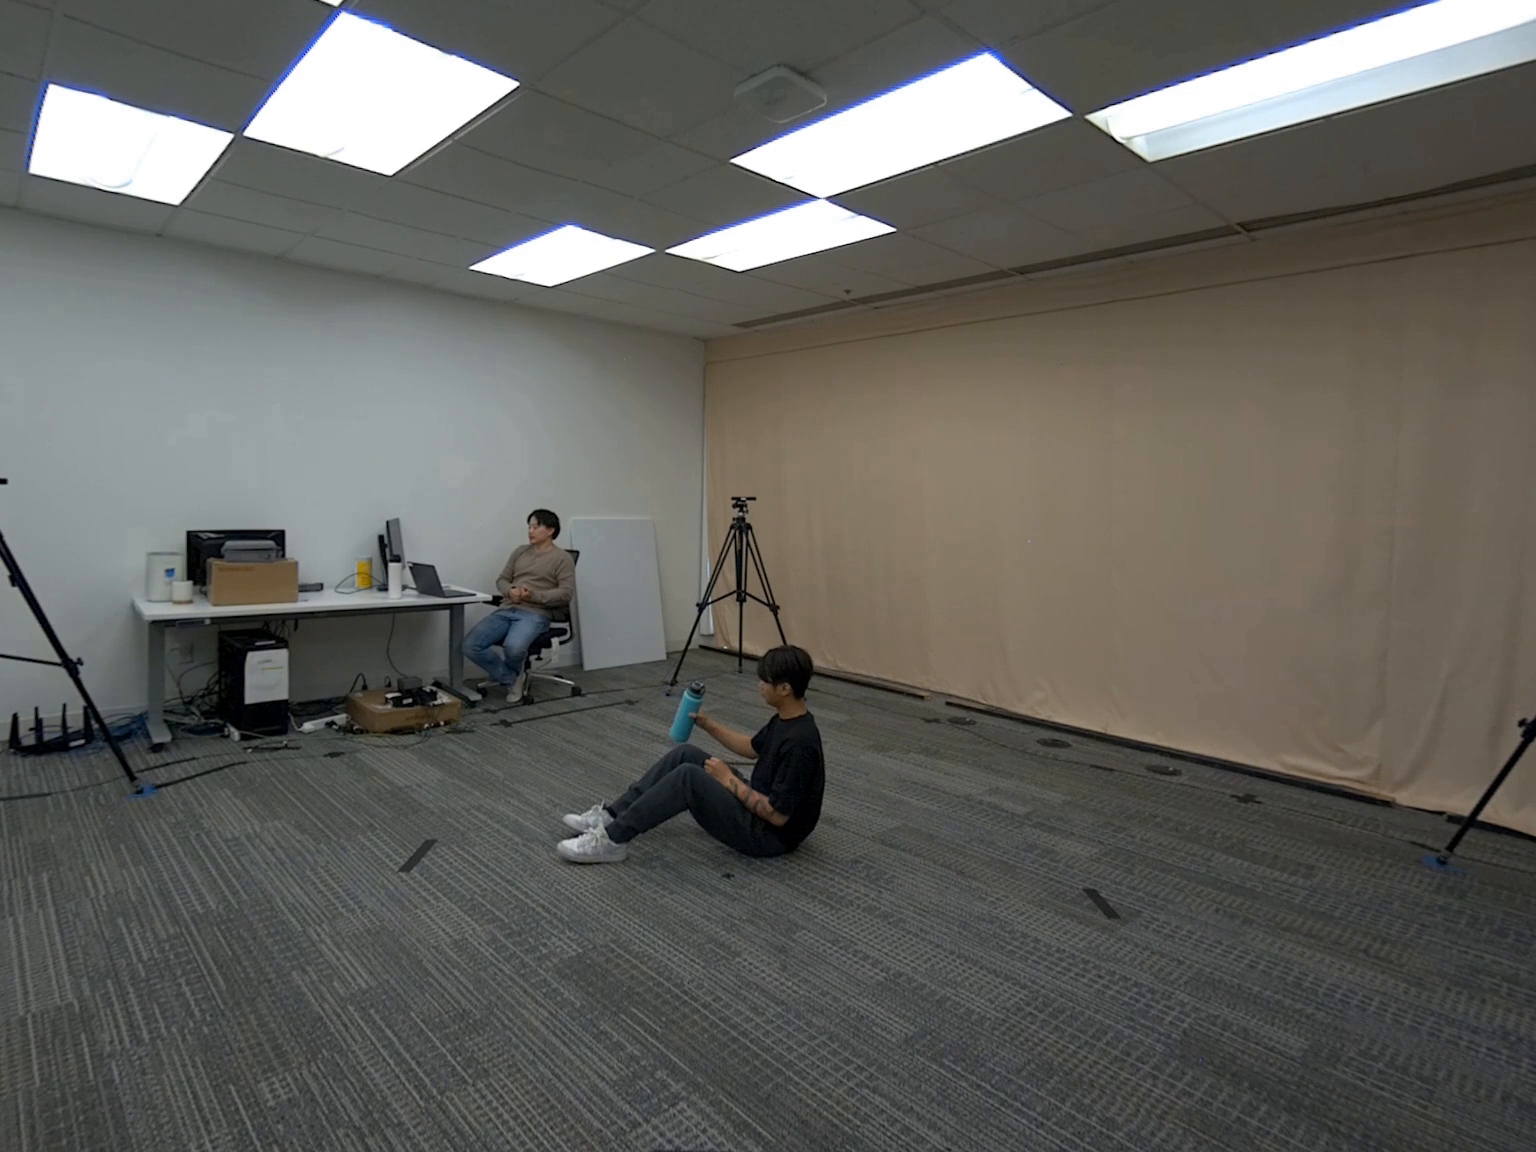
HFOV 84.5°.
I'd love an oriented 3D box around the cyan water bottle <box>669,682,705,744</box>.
[{"bbox_3d":[-0.358,0.584,3.660,0.092,0.281,0.093,17,18,-7],"label":"cyan water bottle"}]
